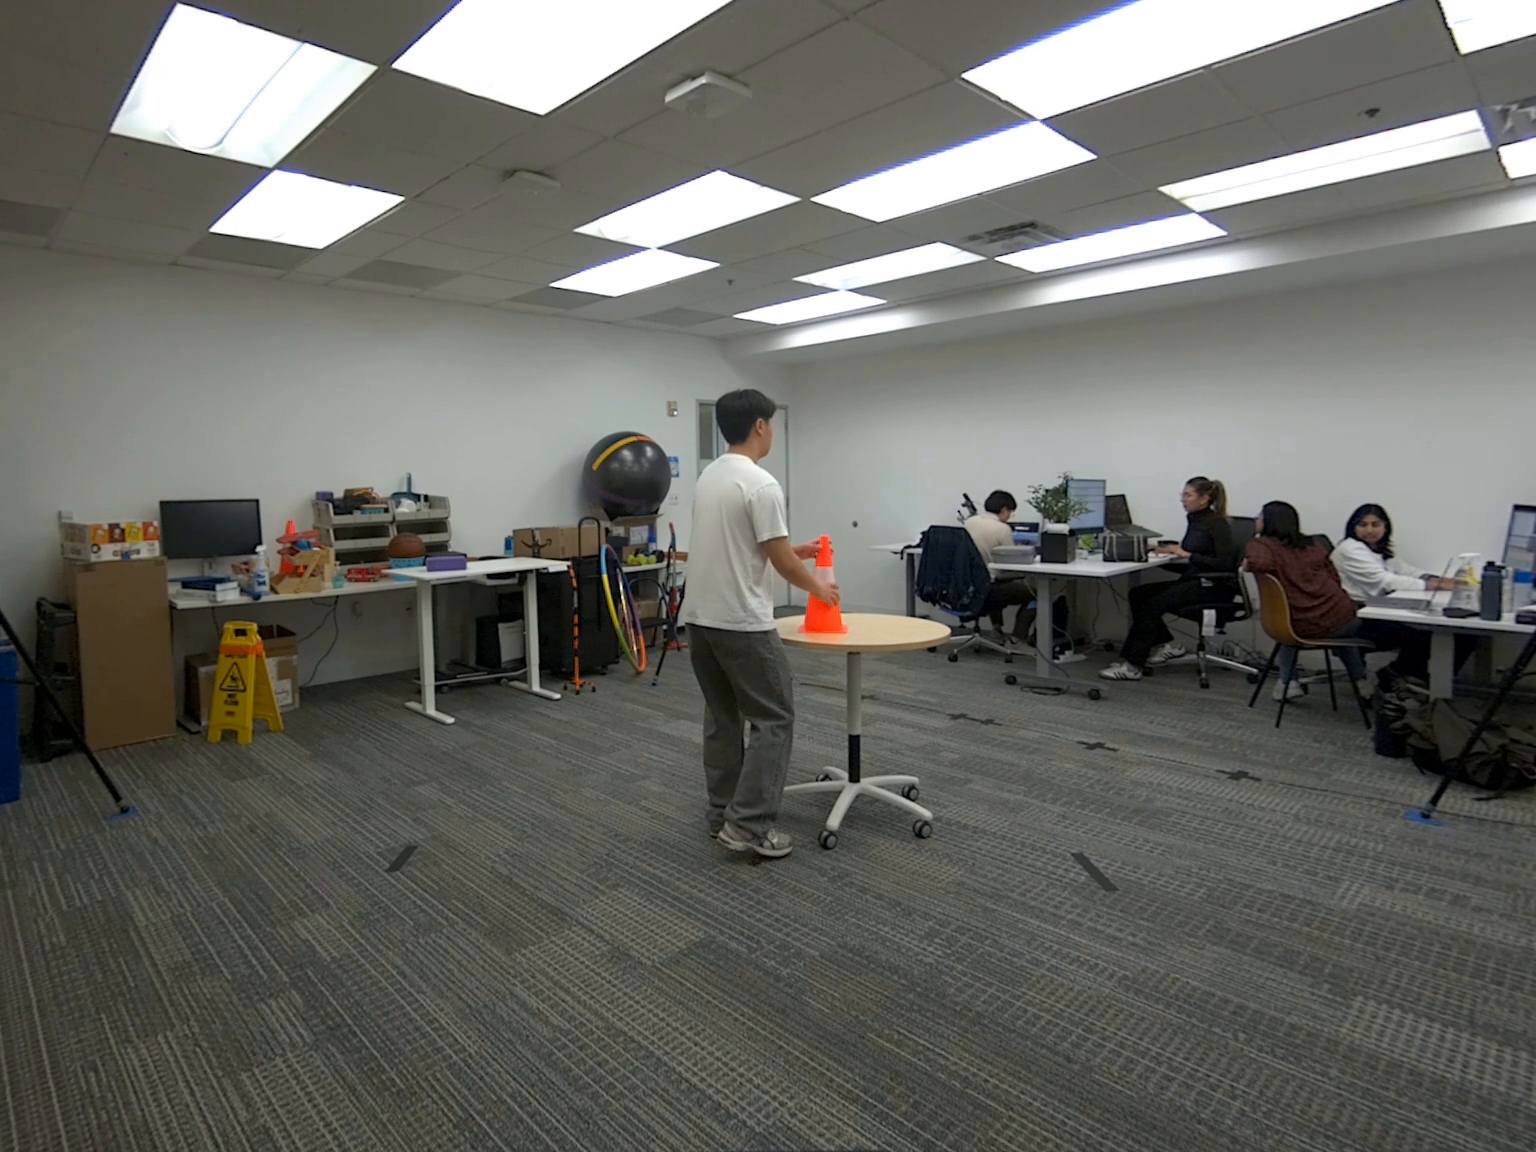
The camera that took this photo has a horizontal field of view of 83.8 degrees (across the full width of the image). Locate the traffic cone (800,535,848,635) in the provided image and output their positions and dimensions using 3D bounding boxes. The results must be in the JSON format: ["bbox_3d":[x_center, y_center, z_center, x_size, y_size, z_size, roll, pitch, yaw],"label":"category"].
[{"bbox_3d":[0.221,0.031,3.452,0.205,0.381,0.204,1,6,7],"label":"traffic cone"}]
